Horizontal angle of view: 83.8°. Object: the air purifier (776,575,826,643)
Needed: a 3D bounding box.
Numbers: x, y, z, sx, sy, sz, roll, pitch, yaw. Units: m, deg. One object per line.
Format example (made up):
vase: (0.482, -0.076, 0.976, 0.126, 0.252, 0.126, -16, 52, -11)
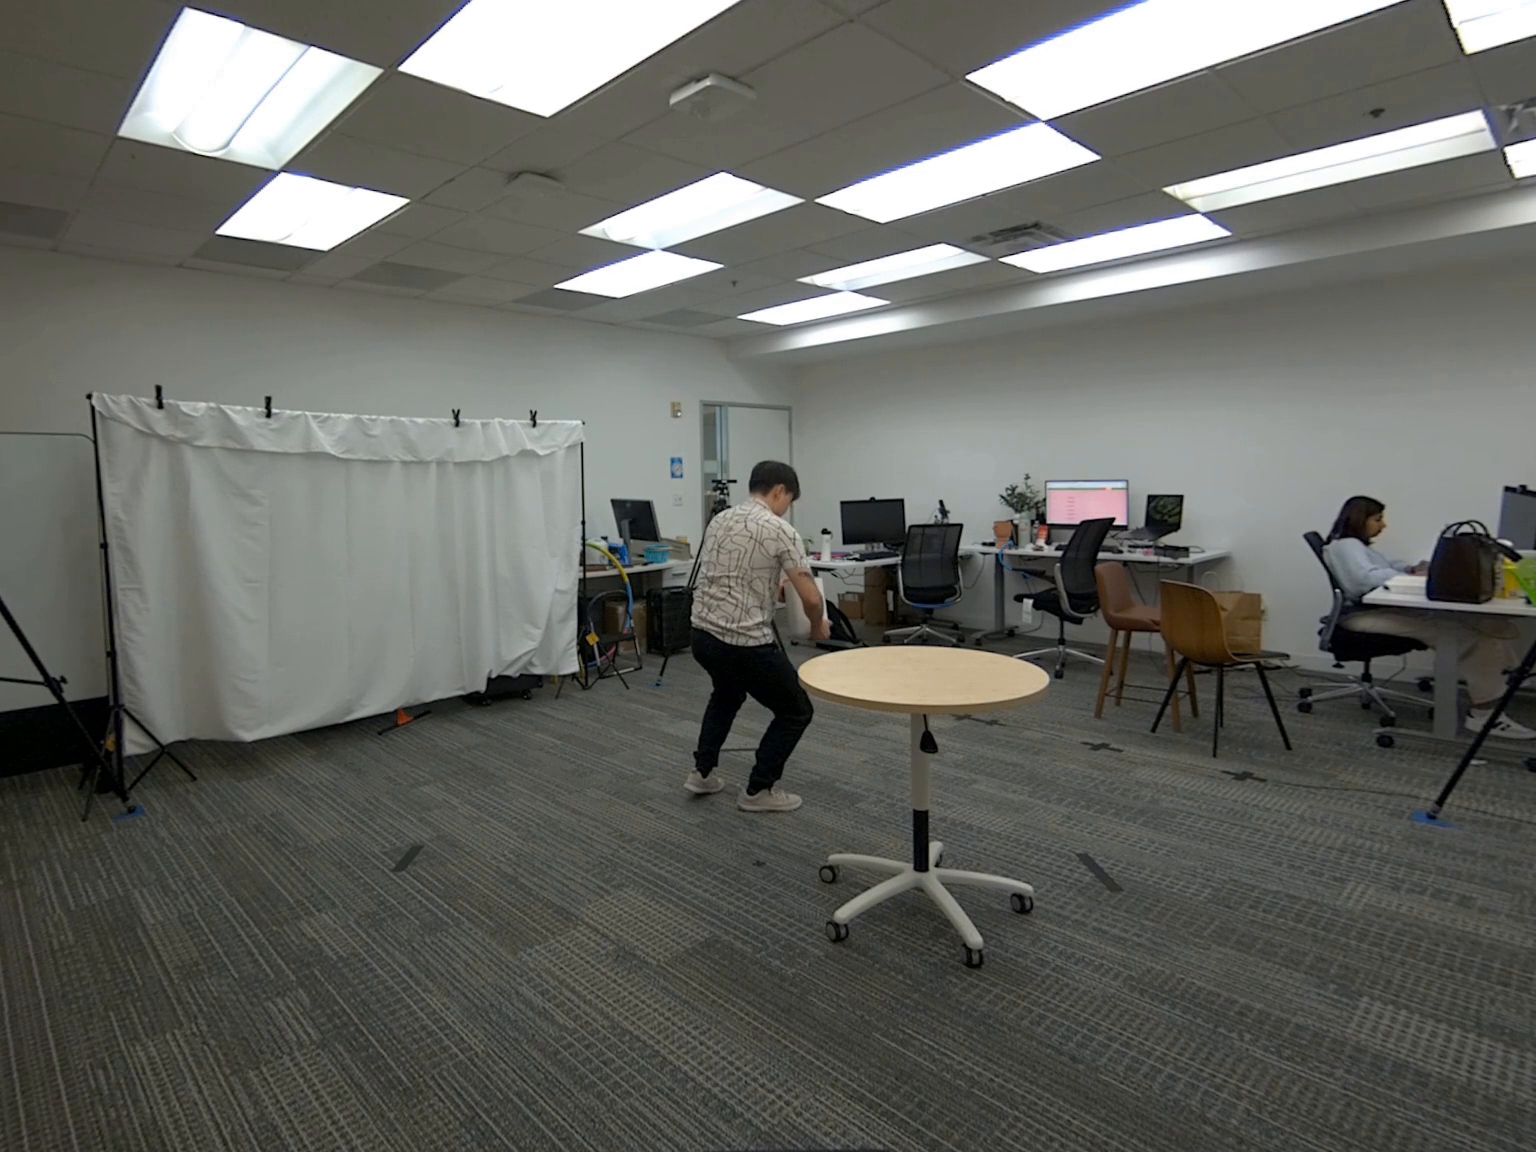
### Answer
air purifier: (0.166, 0.155, 3.827, 0.170, 0.268, 0.170, -5, -11, -6)
